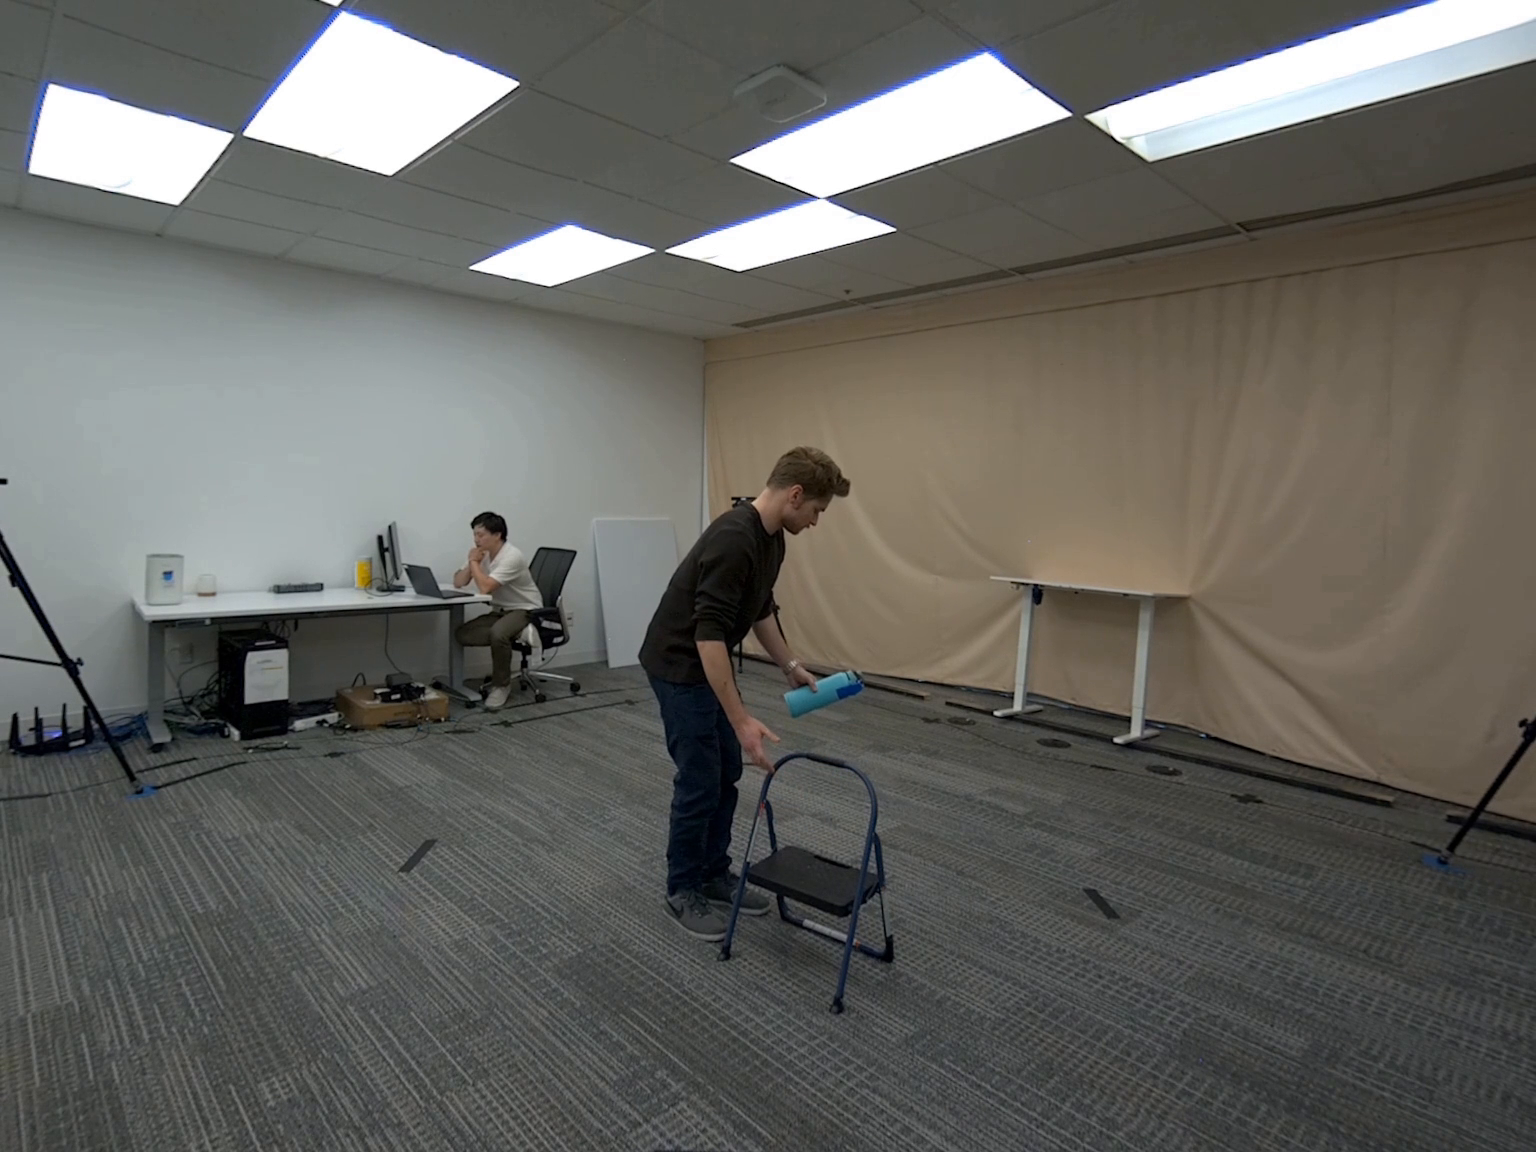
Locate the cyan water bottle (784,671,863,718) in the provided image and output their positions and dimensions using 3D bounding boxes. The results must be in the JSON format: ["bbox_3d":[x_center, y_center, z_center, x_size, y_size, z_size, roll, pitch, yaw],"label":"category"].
[{"bbox_3d":[0.200,0.409,2.927,0.283,0.092,0.093,-21,5,-1],"label":"cyan water bottle"}]
